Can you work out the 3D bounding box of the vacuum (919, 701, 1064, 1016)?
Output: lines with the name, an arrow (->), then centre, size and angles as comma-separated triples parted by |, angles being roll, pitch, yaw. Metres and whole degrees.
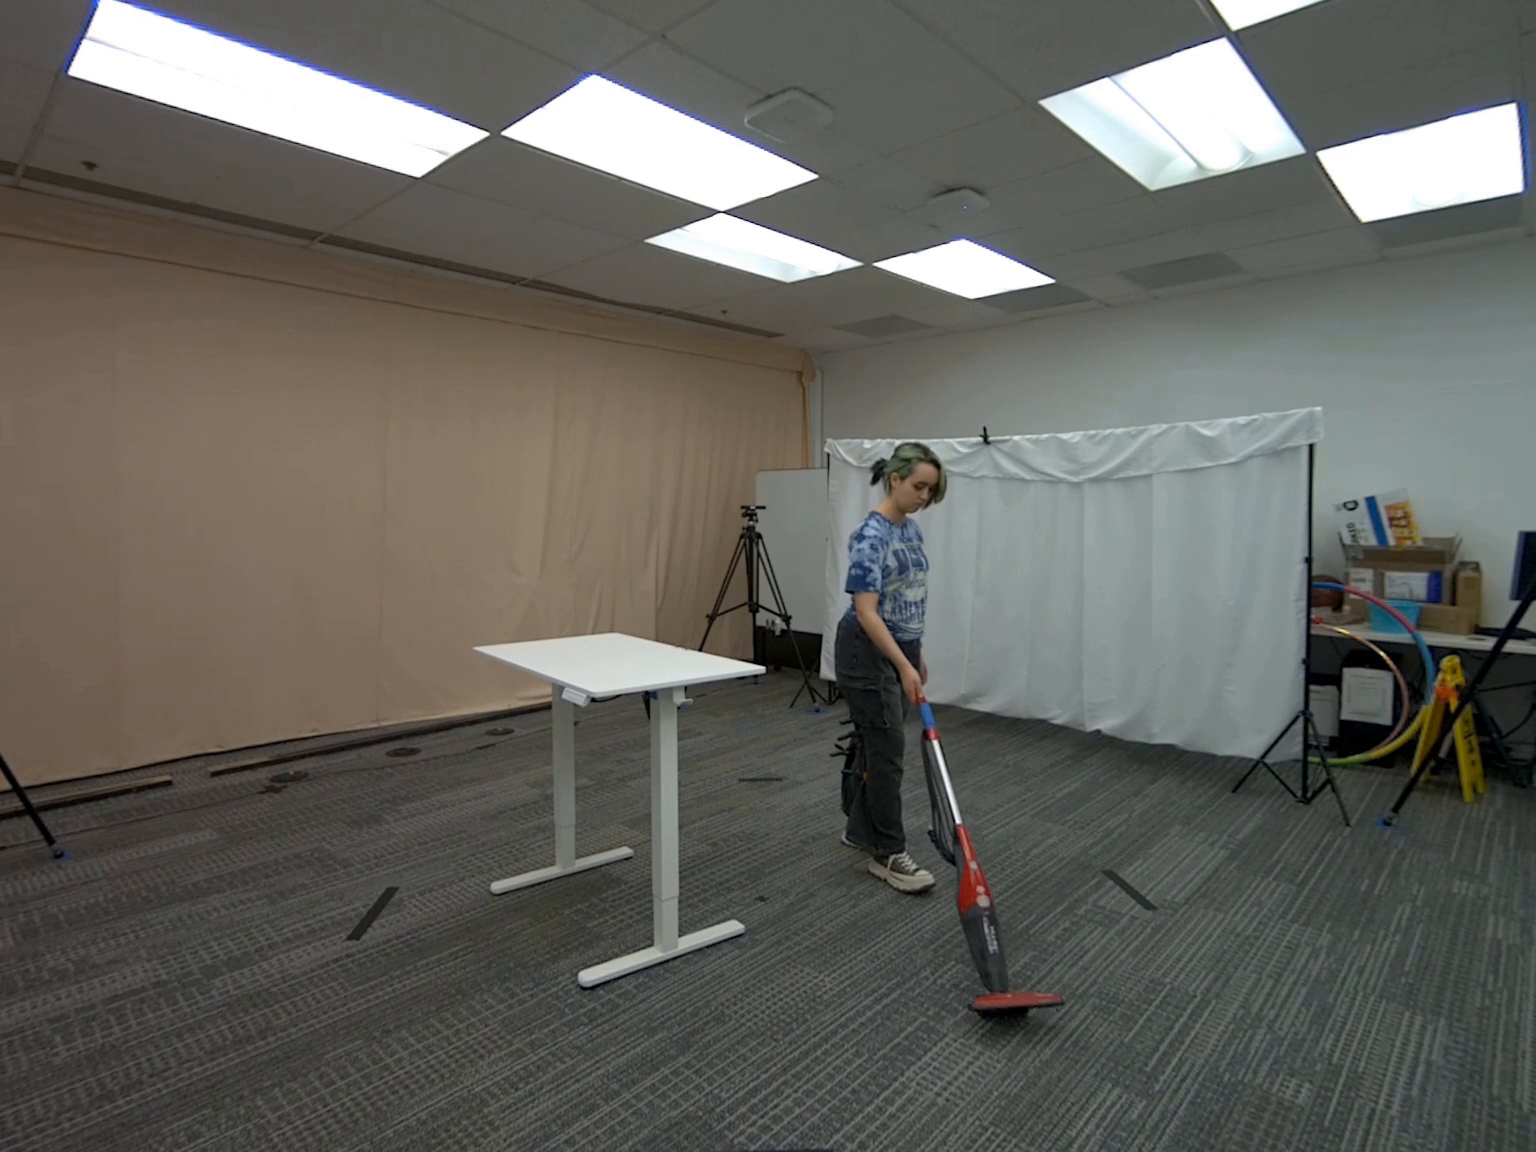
vacuum -> 0.588, 0.790, 2.623 | 0.250, 0.142, 1.073 | -1, 46, -9
